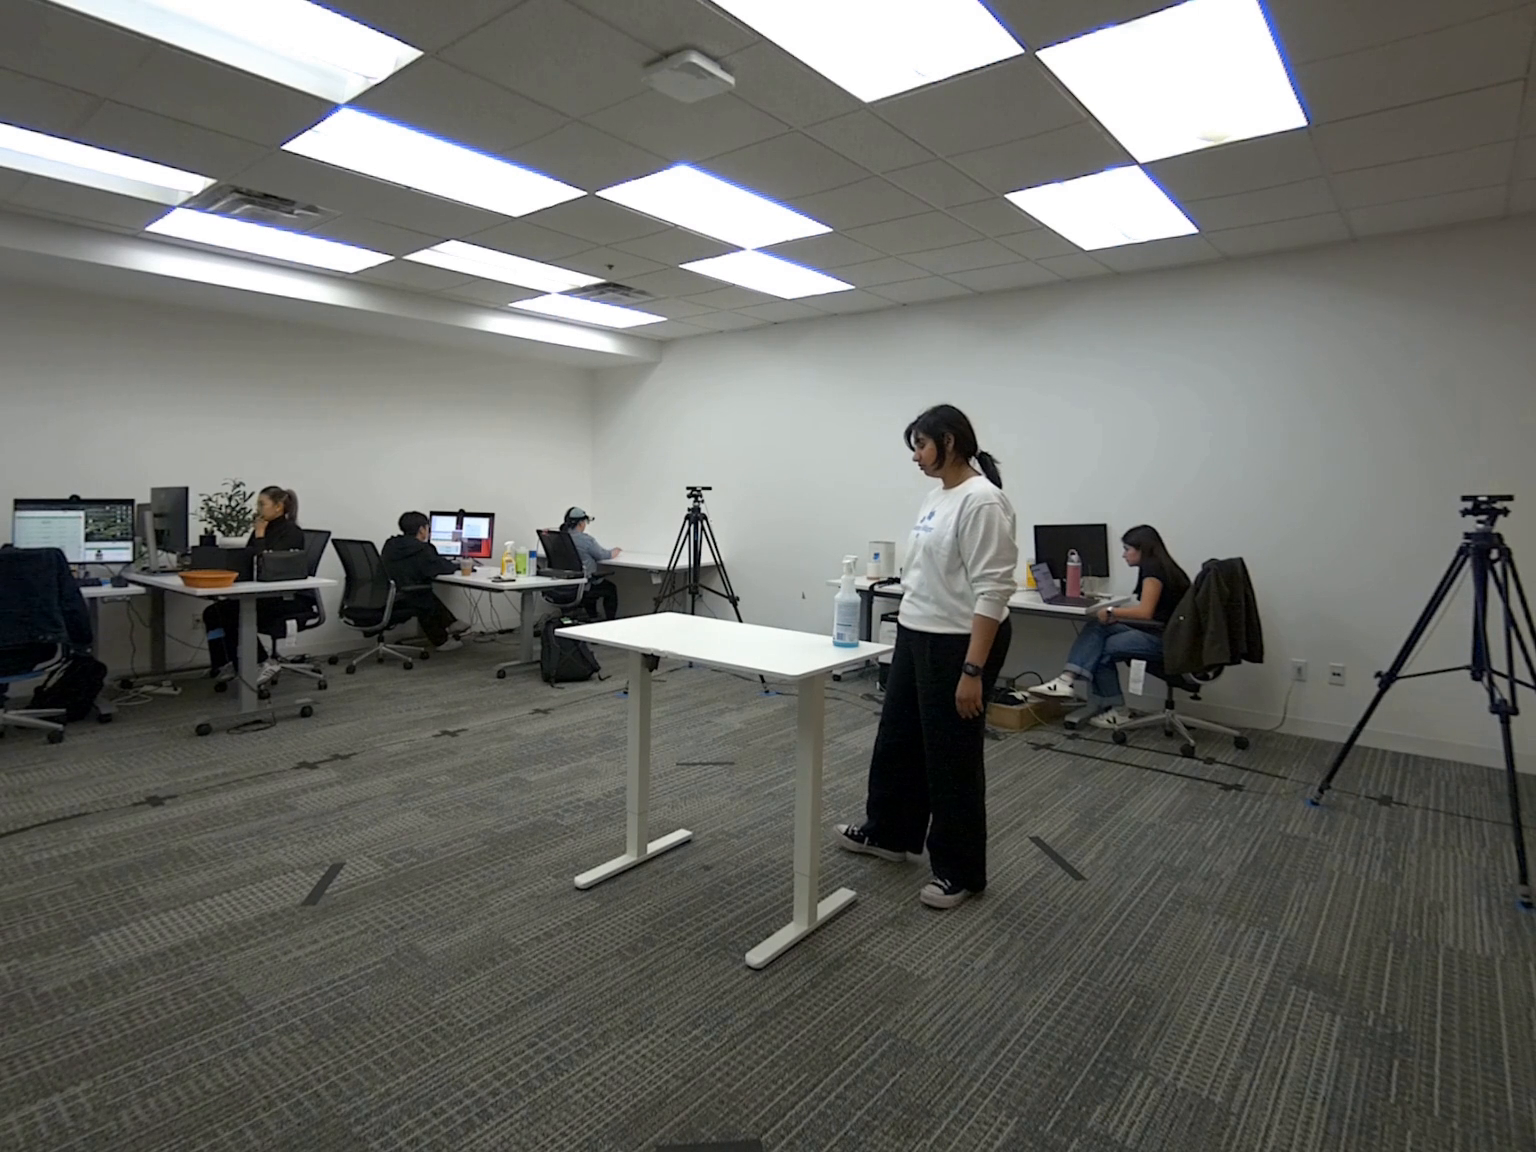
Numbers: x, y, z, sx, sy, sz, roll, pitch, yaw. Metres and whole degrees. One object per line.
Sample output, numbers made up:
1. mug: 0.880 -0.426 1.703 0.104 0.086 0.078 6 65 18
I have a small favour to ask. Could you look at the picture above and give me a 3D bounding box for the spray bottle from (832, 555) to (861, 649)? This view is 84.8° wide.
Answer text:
1. spray bottle: 0.265 0.084 2.779 0.088 0.296 0.089 3 3 6
